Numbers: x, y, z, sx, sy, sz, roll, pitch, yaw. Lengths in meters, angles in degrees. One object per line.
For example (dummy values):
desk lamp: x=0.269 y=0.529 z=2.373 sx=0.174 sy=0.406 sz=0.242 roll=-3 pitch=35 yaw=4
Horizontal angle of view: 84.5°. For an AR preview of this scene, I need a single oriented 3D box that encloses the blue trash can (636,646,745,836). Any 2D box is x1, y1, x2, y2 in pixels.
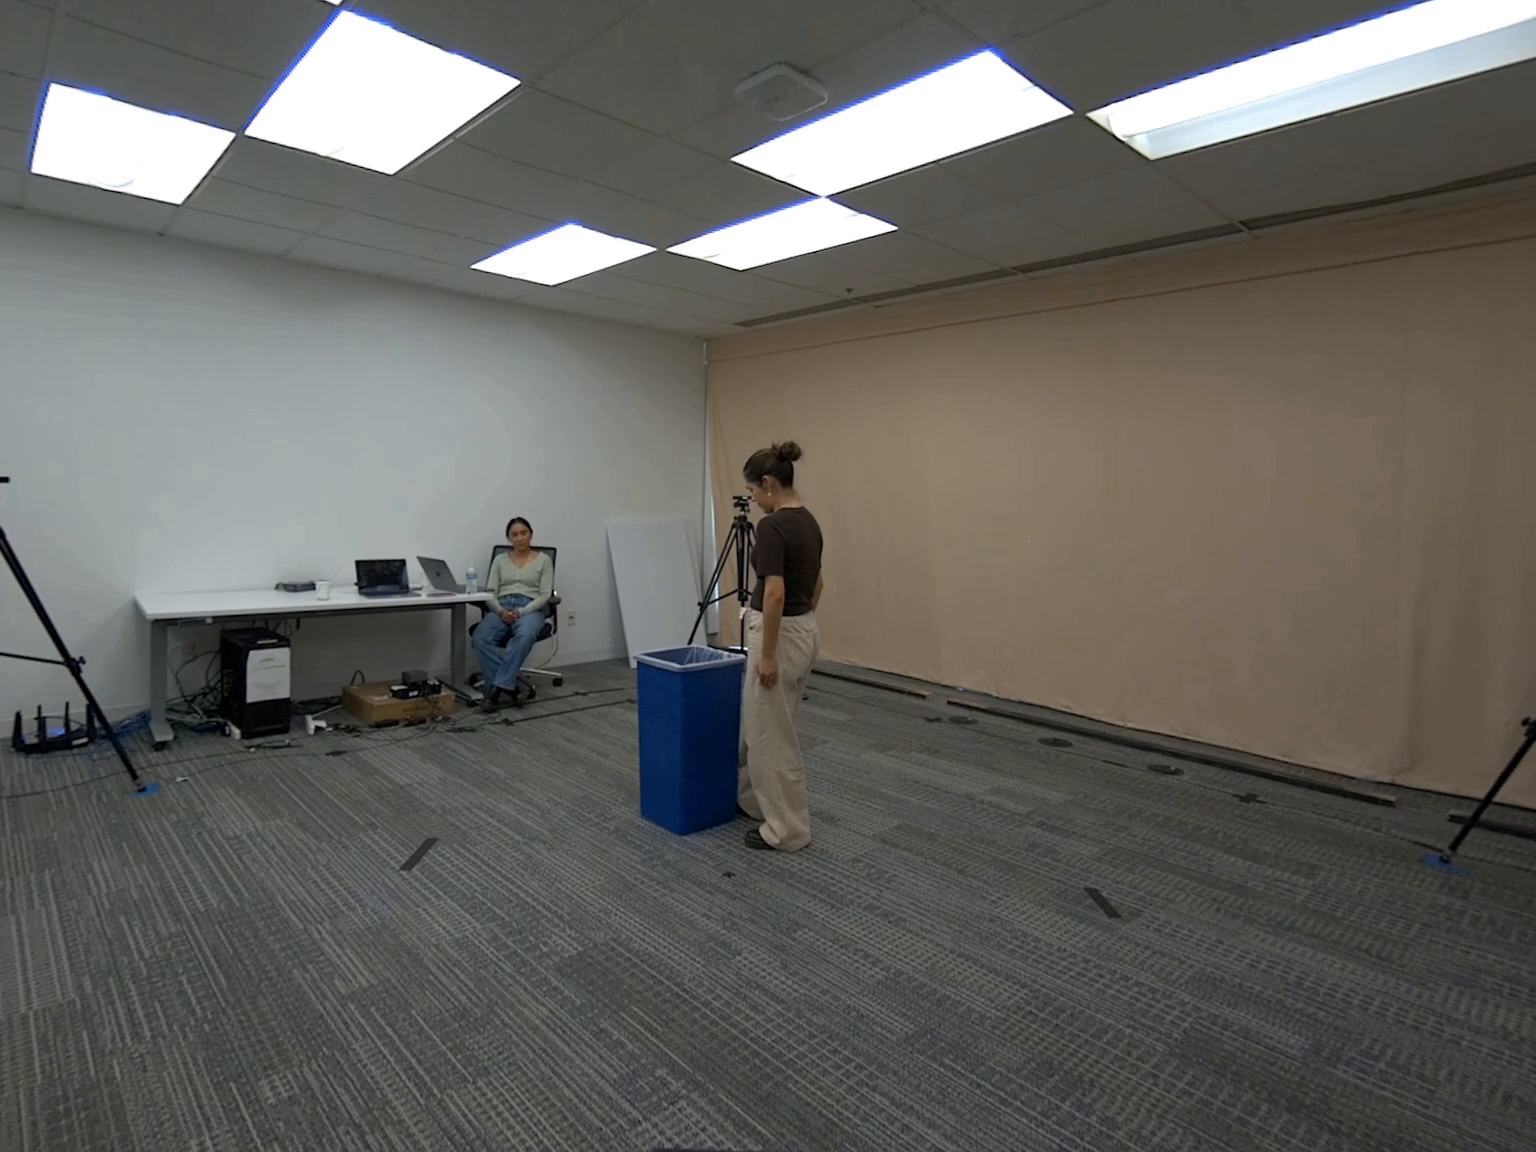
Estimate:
blue trash can: x=-0.361 y=0.690 z=3.636 sx=0.369 sy=0.712 sz=0.384 roll=-2 pitch=5 yaw=-43
